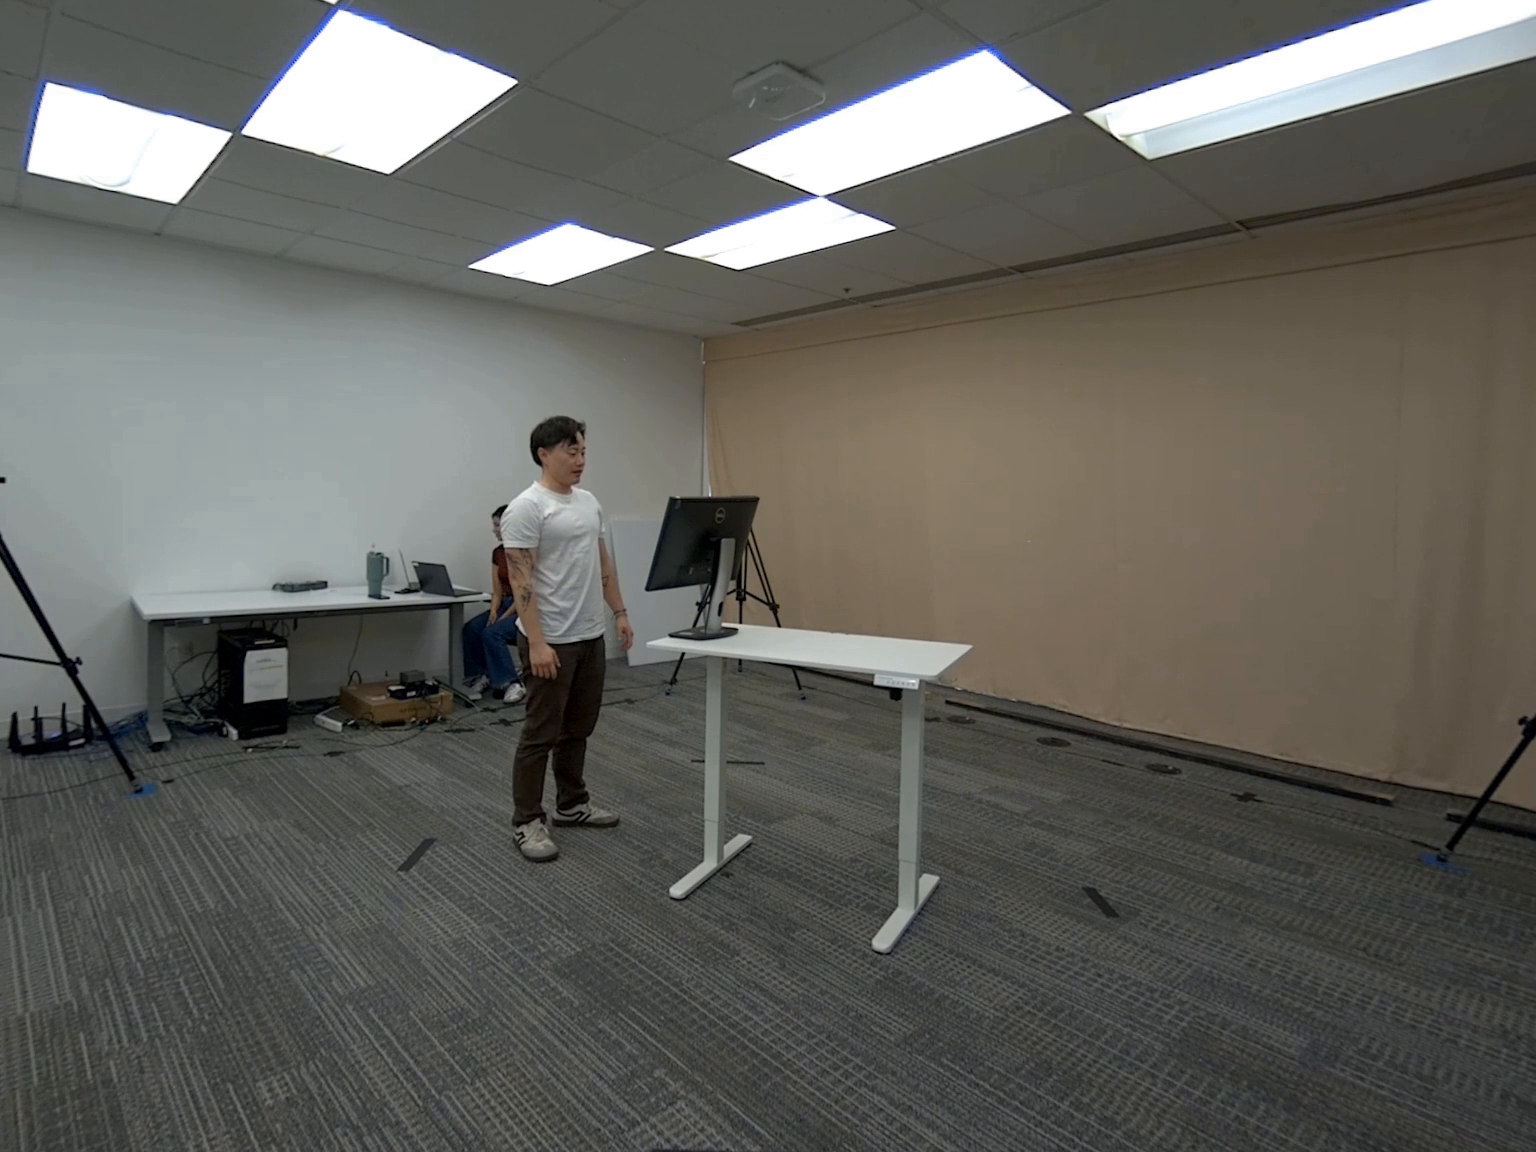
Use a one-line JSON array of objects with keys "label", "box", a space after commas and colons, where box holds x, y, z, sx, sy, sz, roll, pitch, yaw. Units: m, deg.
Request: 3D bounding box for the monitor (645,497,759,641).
[{"label": "monitor", "box": [-0.223, -0.035, 3.107, 0.191, 0.520, 0.529, 9, 8, 31]}]
